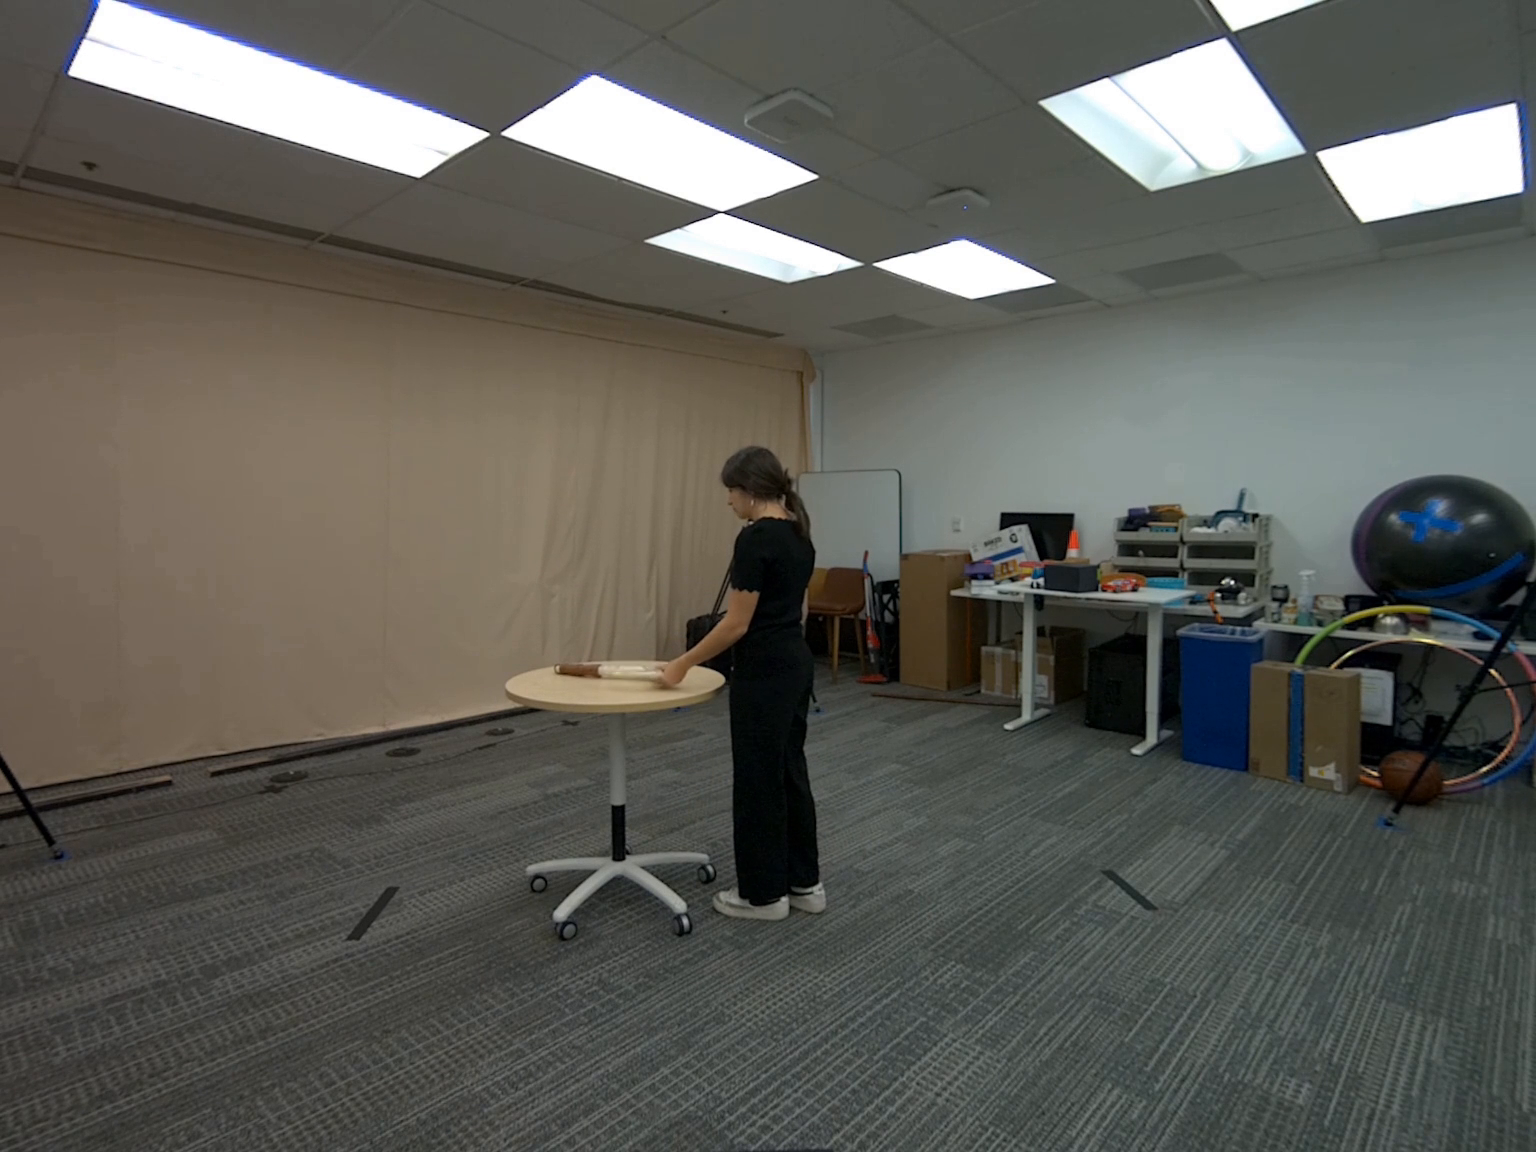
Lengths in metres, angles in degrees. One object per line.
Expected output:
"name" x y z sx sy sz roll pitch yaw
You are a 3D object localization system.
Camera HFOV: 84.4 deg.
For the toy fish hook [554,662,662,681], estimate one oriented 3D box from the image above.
"toy fish hook" -0.567 0.338 2.935 0.518 0.048 0.218 -2 -6 23
